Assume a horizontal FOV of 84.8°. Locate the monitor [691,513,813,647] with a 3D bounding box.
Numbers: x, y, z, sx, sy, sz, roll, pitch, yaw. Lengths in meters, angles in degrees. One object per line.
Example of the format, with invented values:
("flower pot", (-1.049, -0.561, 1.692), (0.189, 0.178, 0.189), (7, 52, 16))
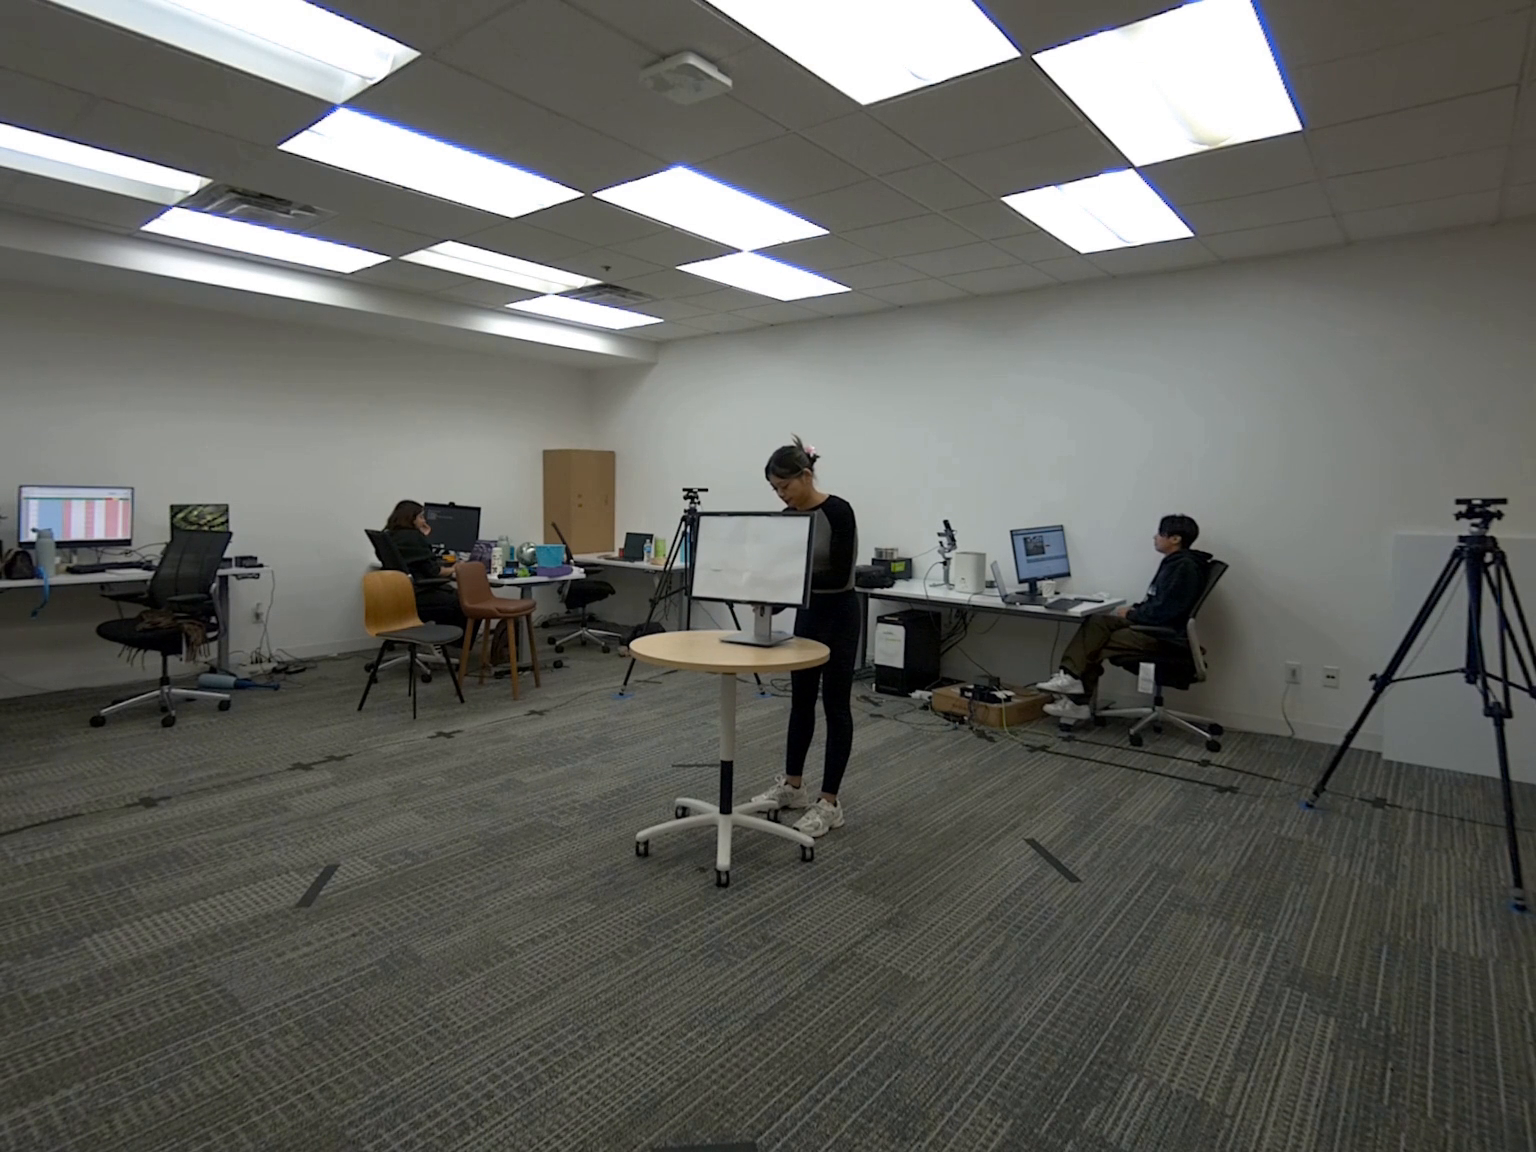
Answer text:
("monitor", (-0.064, 0.003, 3.352), (0.547, 0.511, 0.171), (3, 11, 35))
